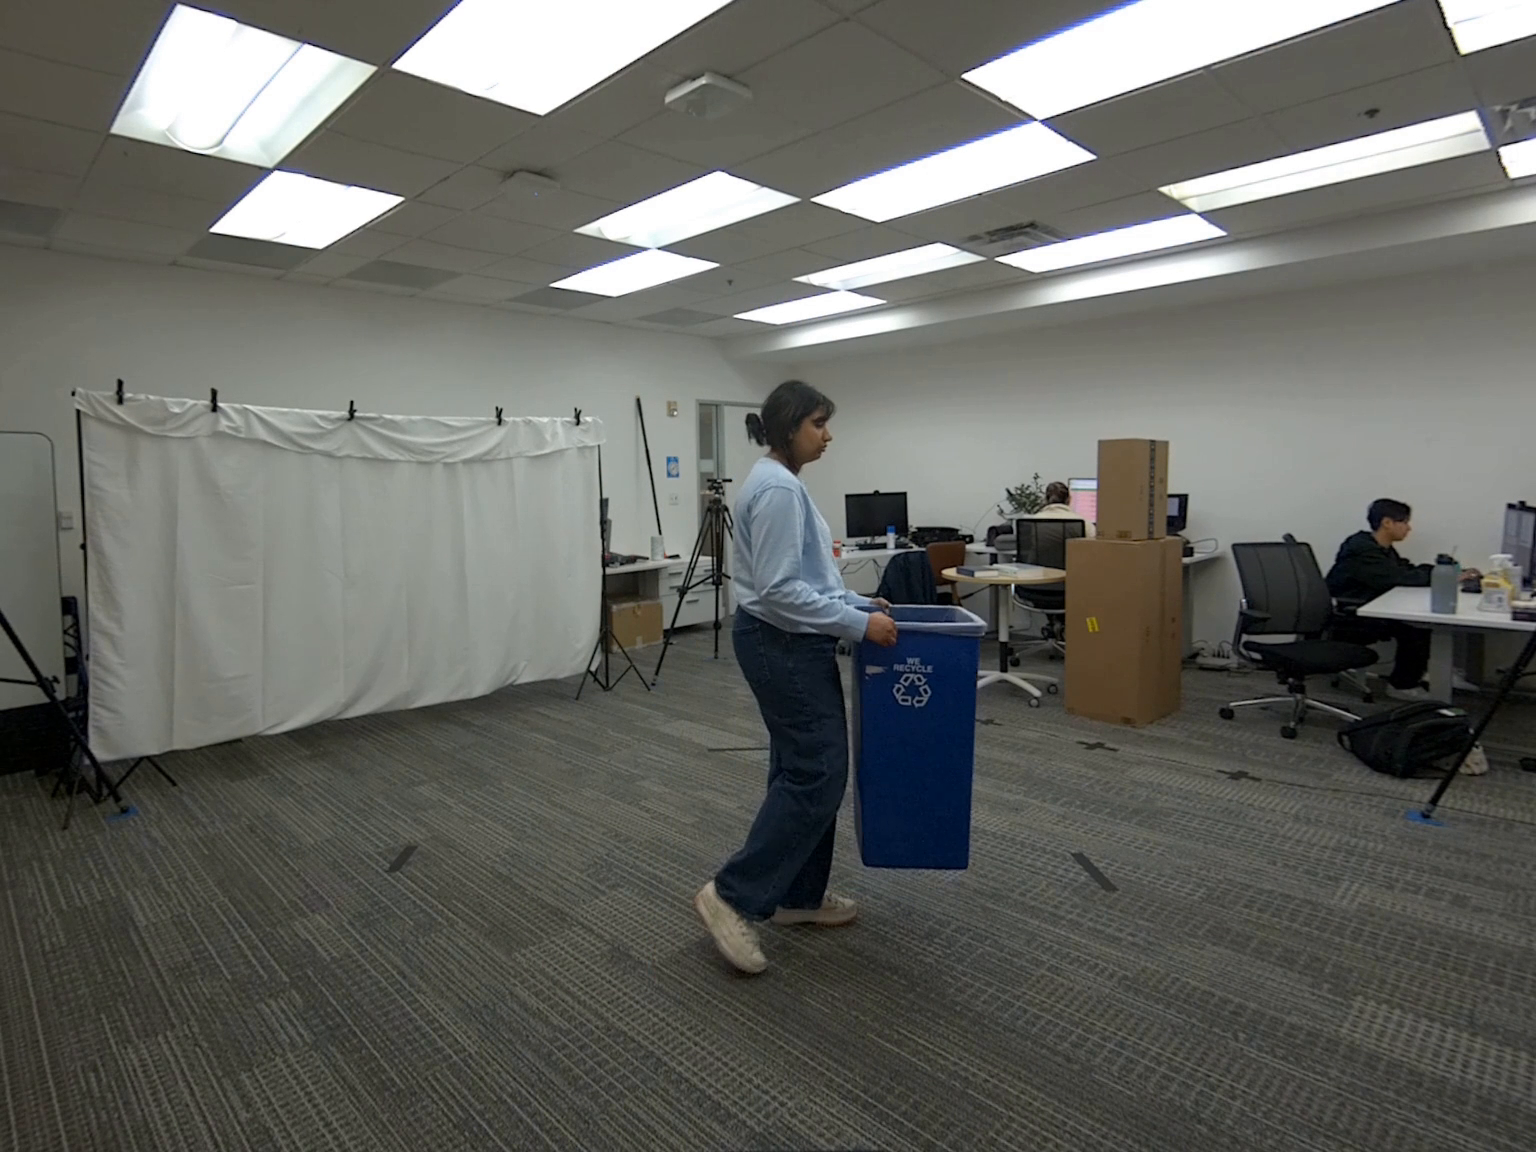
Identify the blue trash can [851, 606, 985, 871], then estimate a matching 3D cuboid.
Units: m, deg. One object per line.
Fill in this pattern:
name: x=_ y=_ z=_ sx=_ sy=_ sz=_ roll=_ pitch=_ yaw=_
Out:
blue trash can: x=0.430 y=0.471 z=2.560 sx=0.375 sy=0.711 sz=0.378 roll=0 pitch=4 yaw=2
